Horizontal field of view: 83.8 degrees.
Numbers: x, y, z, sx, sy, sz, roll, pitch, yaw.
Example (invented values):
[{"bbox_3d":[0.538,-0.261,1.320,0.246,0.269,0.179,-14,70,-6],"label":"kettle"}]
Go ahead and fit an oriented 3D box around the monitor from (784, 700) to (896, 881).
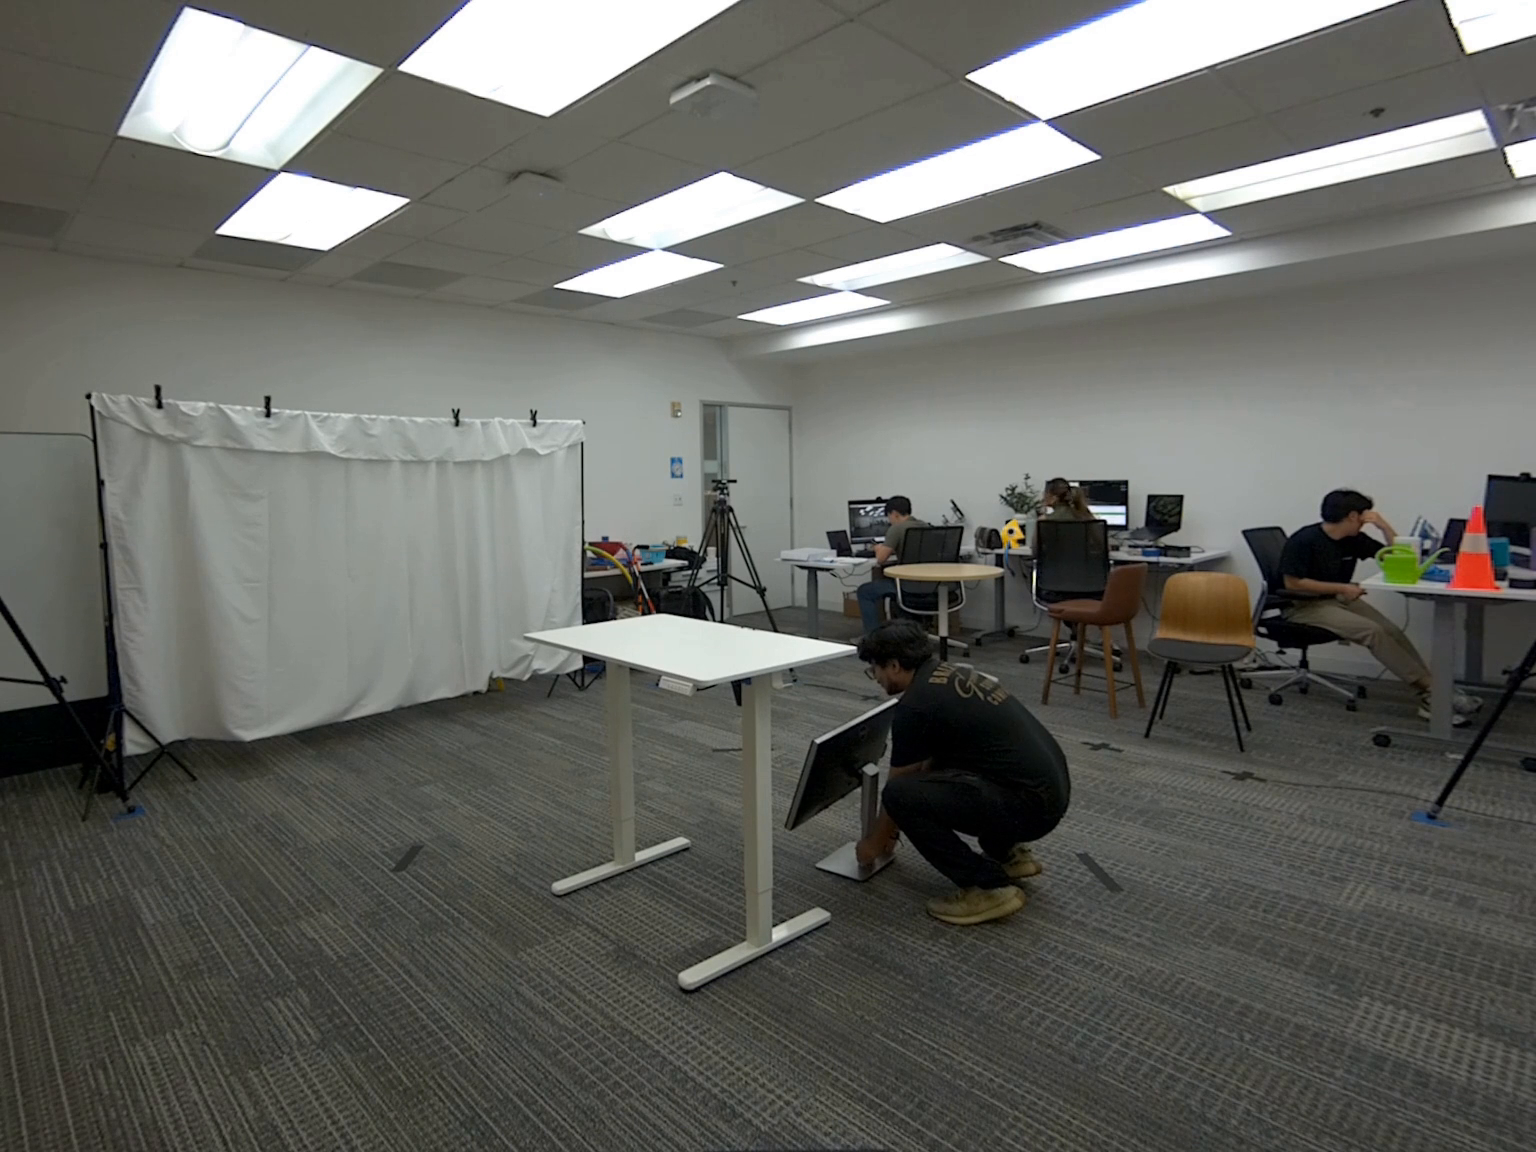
[{"bbox_3d":[0.333,0.775,3.058,0.217,0.549,0.552,14,15,37],"label":"monitor"}]
